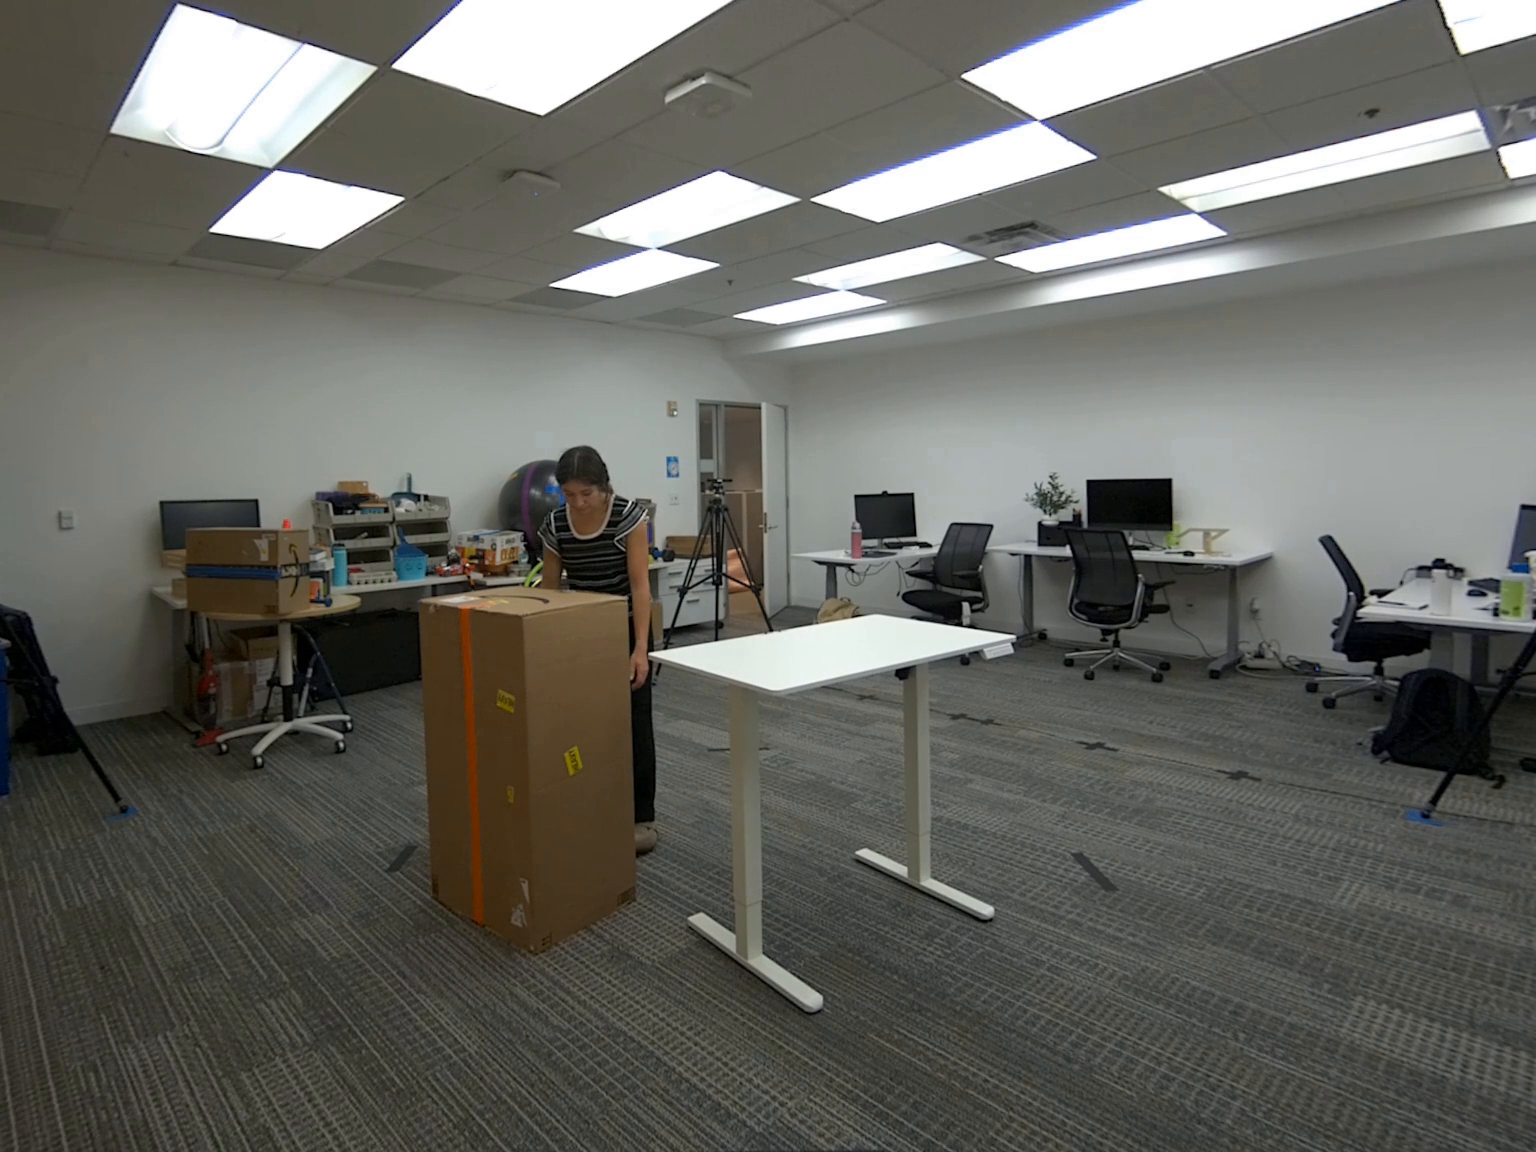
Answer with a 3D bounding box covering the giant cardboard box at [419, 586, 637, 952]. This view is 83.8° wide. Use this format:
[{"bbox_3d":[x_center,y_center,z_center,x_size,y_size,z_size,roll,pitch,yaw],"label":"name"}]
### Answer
[{"bbox_3d":[-0.805,0.583,2.842,0.595,1.022,0.415,2,6,38],"label":"giant cardboard box"}]
